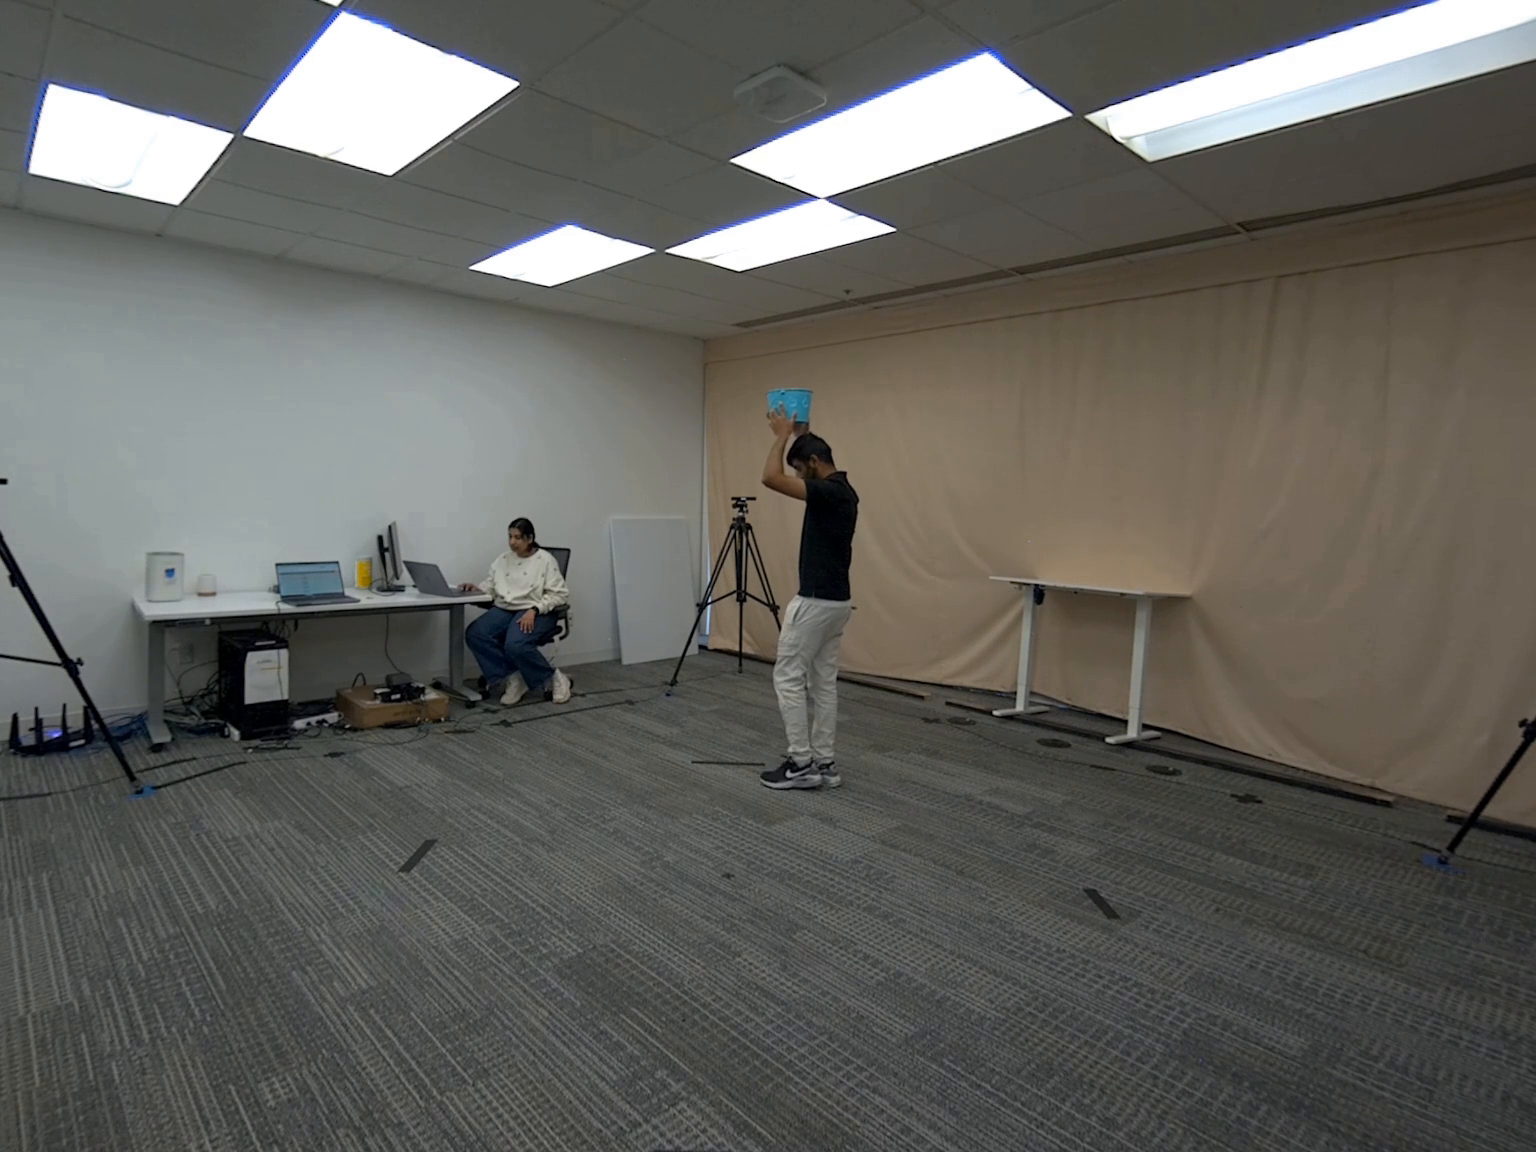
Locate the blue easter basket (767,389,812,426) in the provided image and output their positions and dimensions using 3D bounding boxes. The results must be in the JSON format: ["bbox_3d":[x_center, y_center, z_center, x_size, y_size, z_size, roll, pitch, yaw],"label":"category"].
[{"bbox_3d":[0.106,-0.834,4.168,0.243,0.155,0.244,1,3,-1],"label":"blue easter basket"}]
